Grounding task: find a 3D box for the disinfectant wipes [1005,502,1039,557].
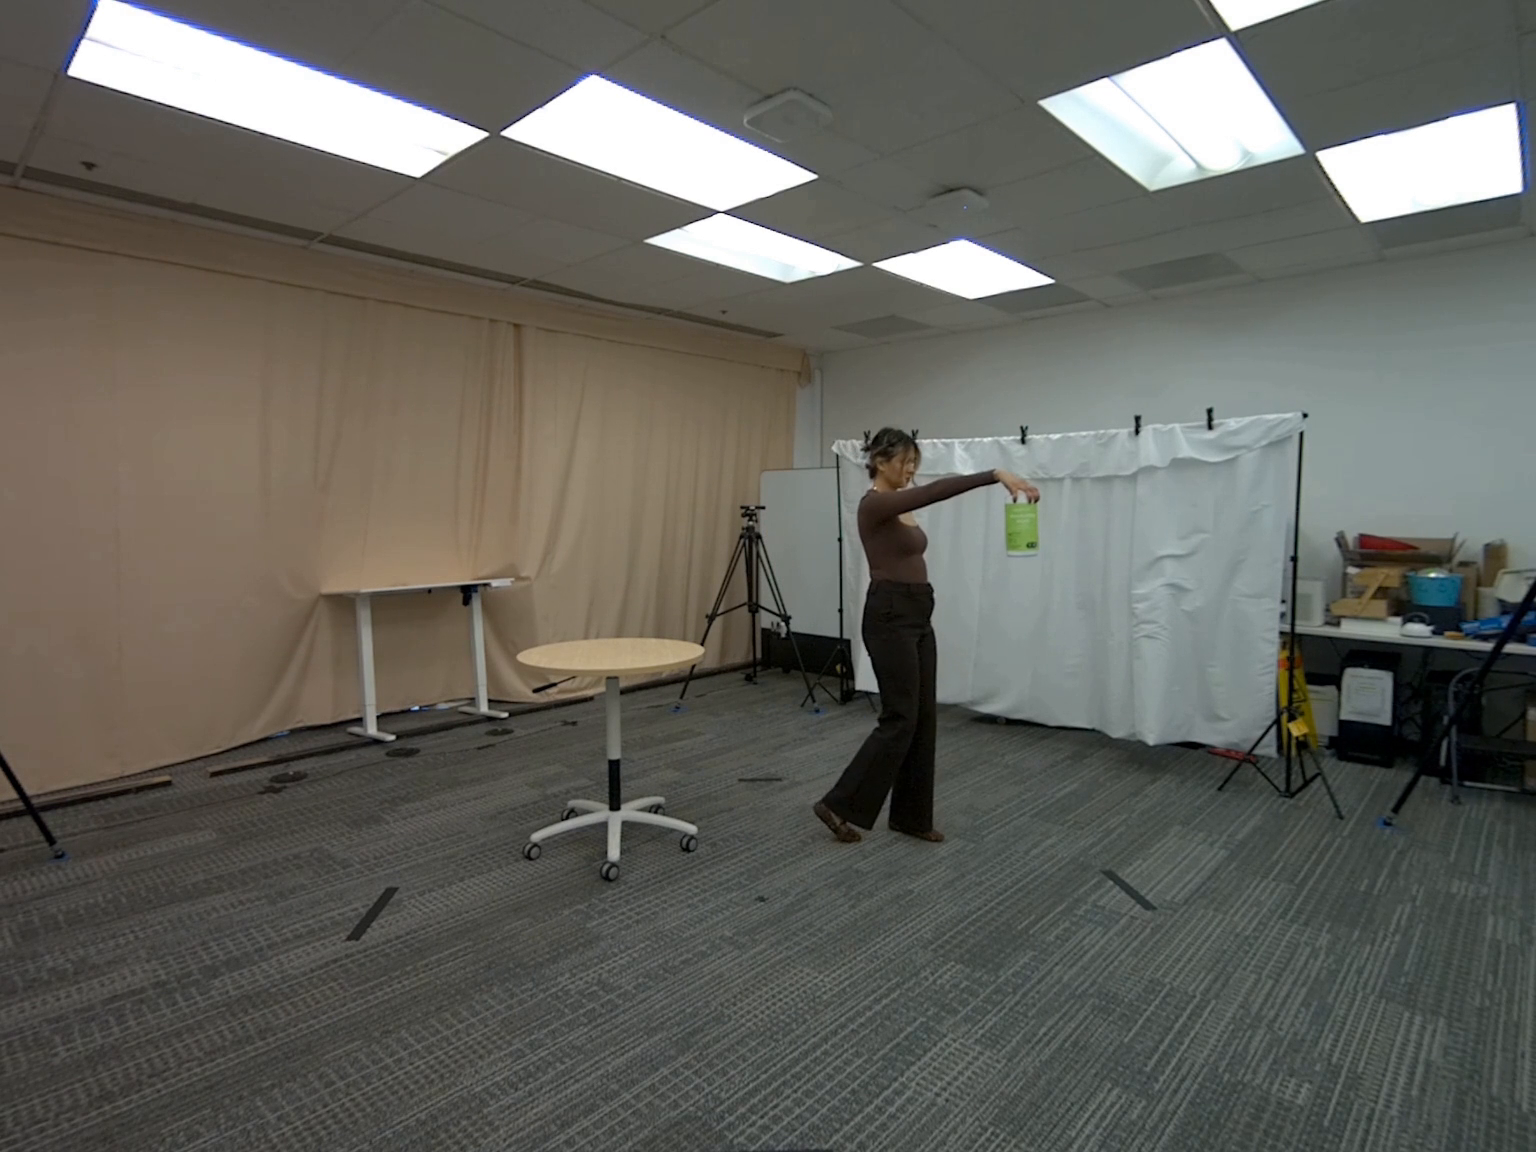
[{"bbox_3d":[0.893,-0.178,2.981,0.118,0.216,0.118,-5,5,-1],"label":"disinfectant wipes"}]
